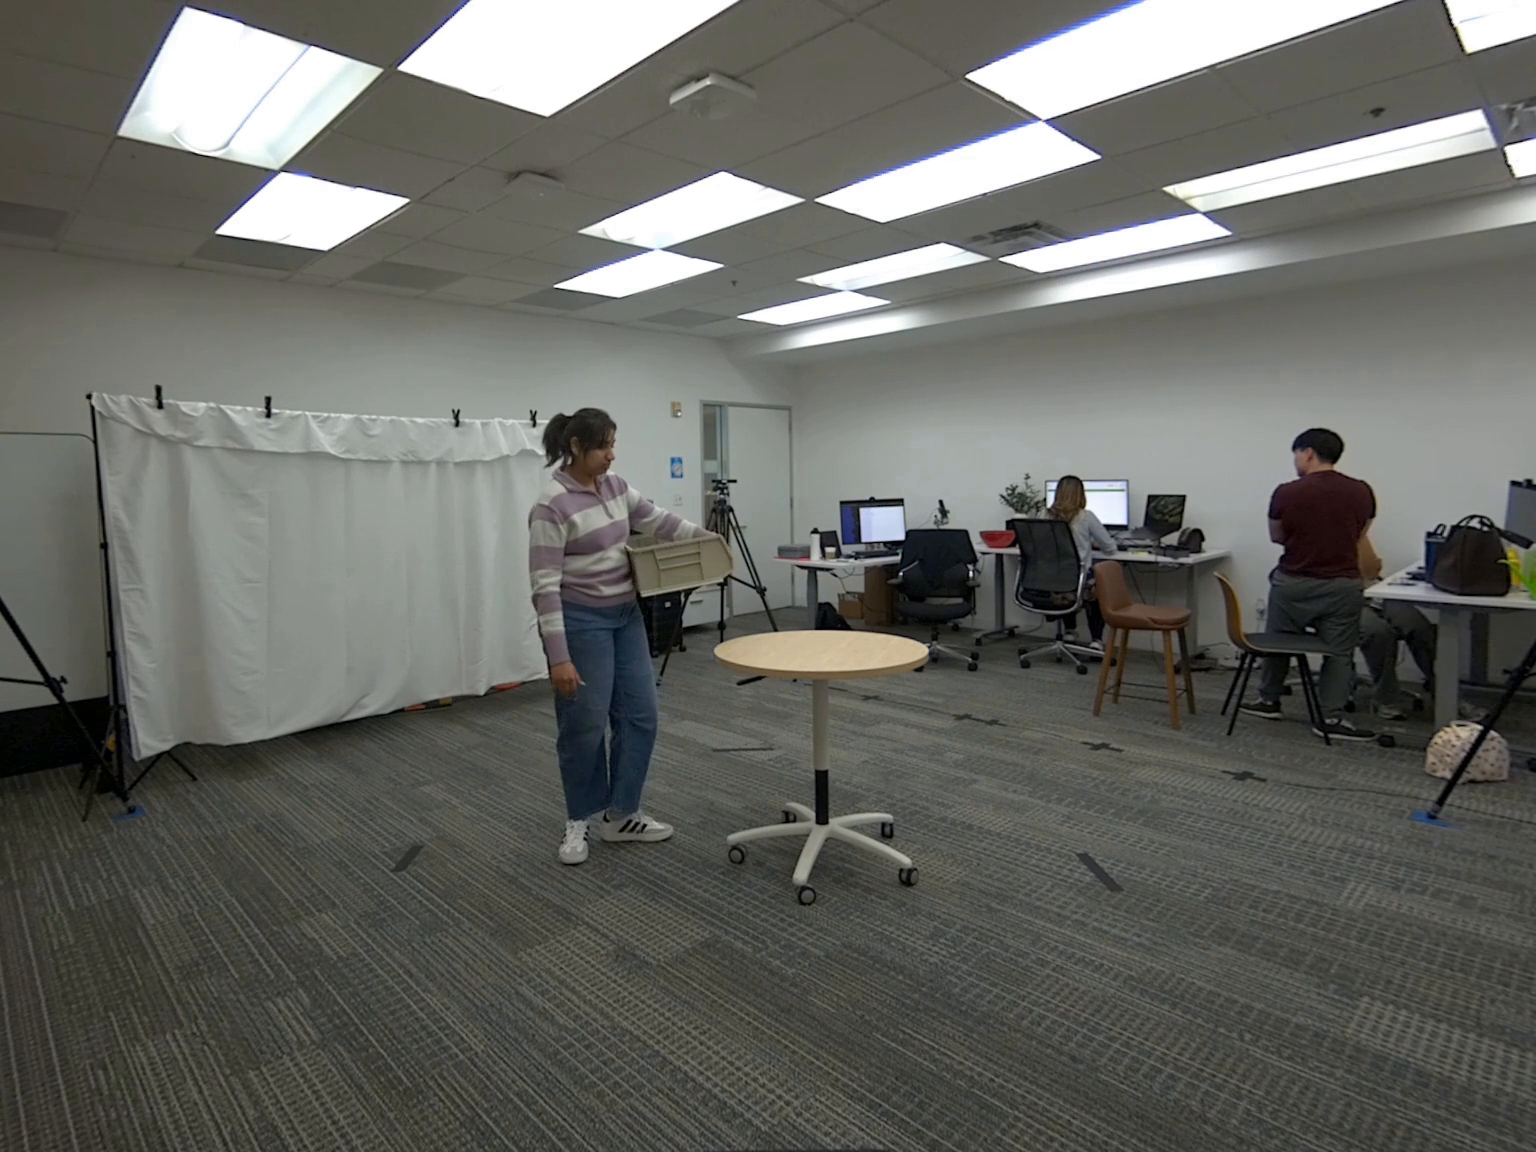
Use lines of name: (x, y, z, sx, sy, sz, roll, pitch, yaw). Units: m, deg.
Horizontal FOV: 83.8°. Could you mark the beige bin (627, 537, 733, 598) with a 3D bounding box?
beige bin: (-0.362, -0.062, 3.340, 0.373, 0.187, 0.431, -11, 10, -16)
